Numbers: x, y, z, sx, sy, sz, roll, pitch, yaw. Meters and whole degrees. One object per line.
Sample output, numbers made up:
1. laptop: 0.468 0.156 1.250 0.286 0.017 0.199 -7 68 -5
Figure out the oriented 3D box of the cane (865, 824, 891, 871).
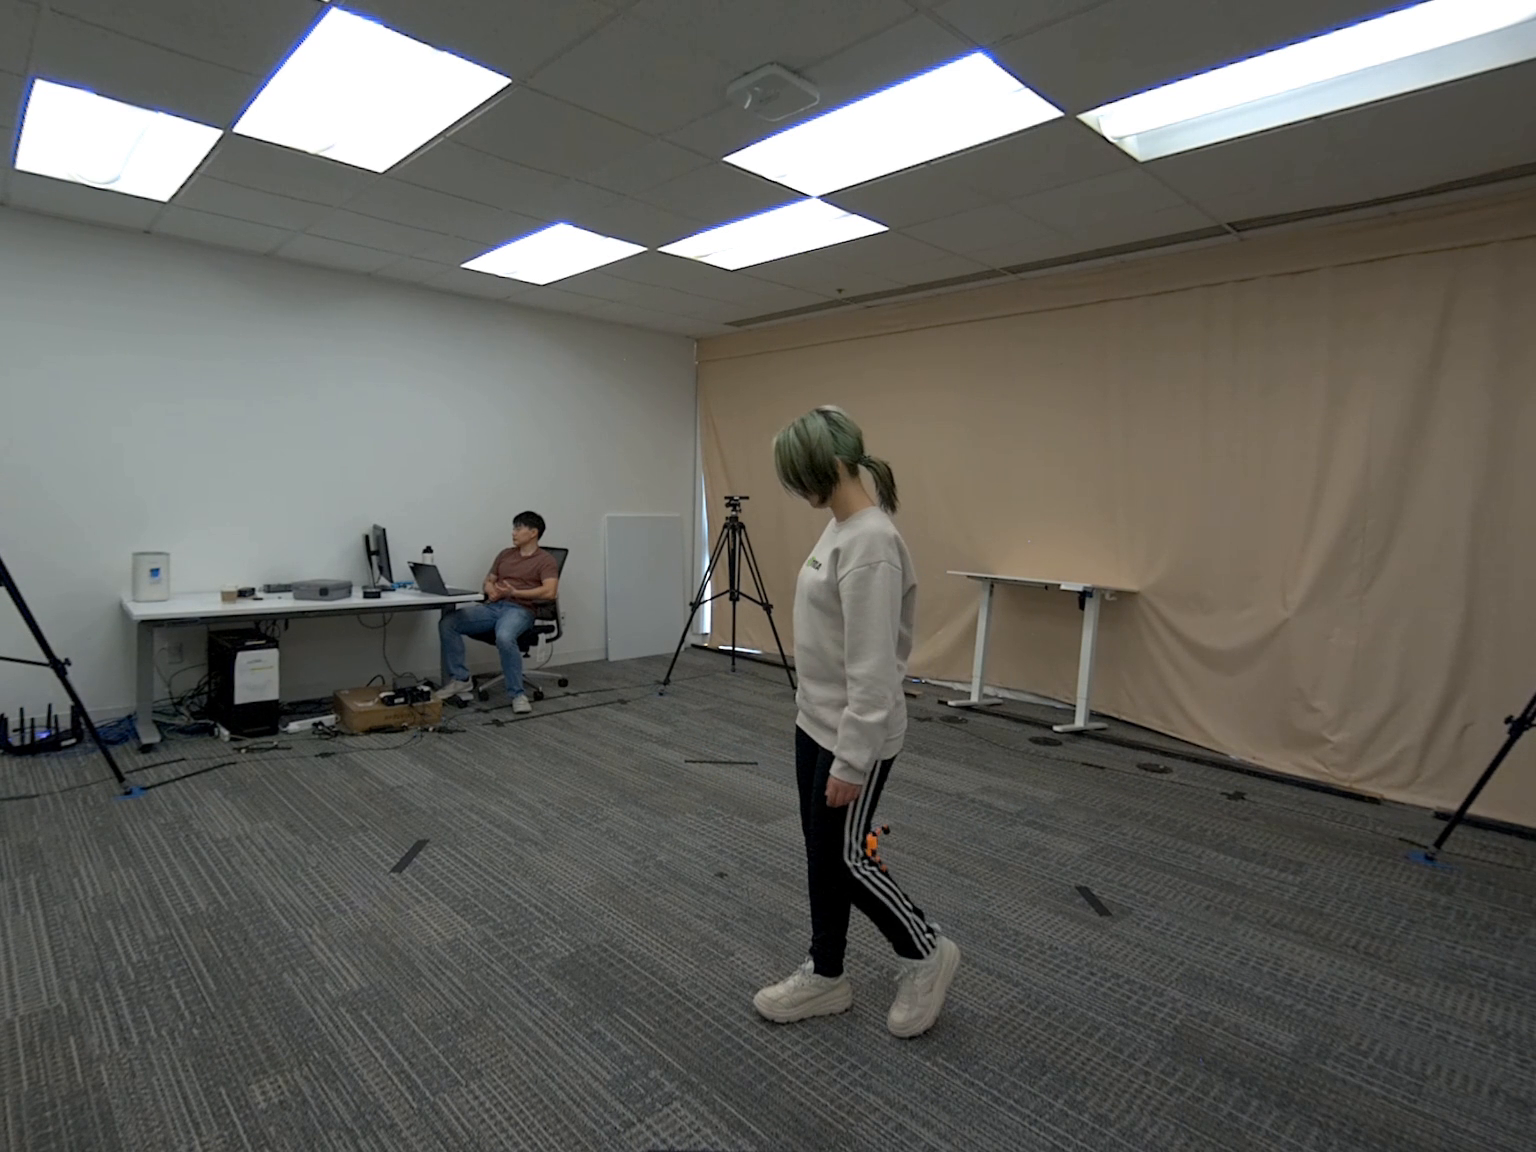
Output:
1. cane: 0.349 0.732 2.883 0.153 0.886 0.210 2 45 7
